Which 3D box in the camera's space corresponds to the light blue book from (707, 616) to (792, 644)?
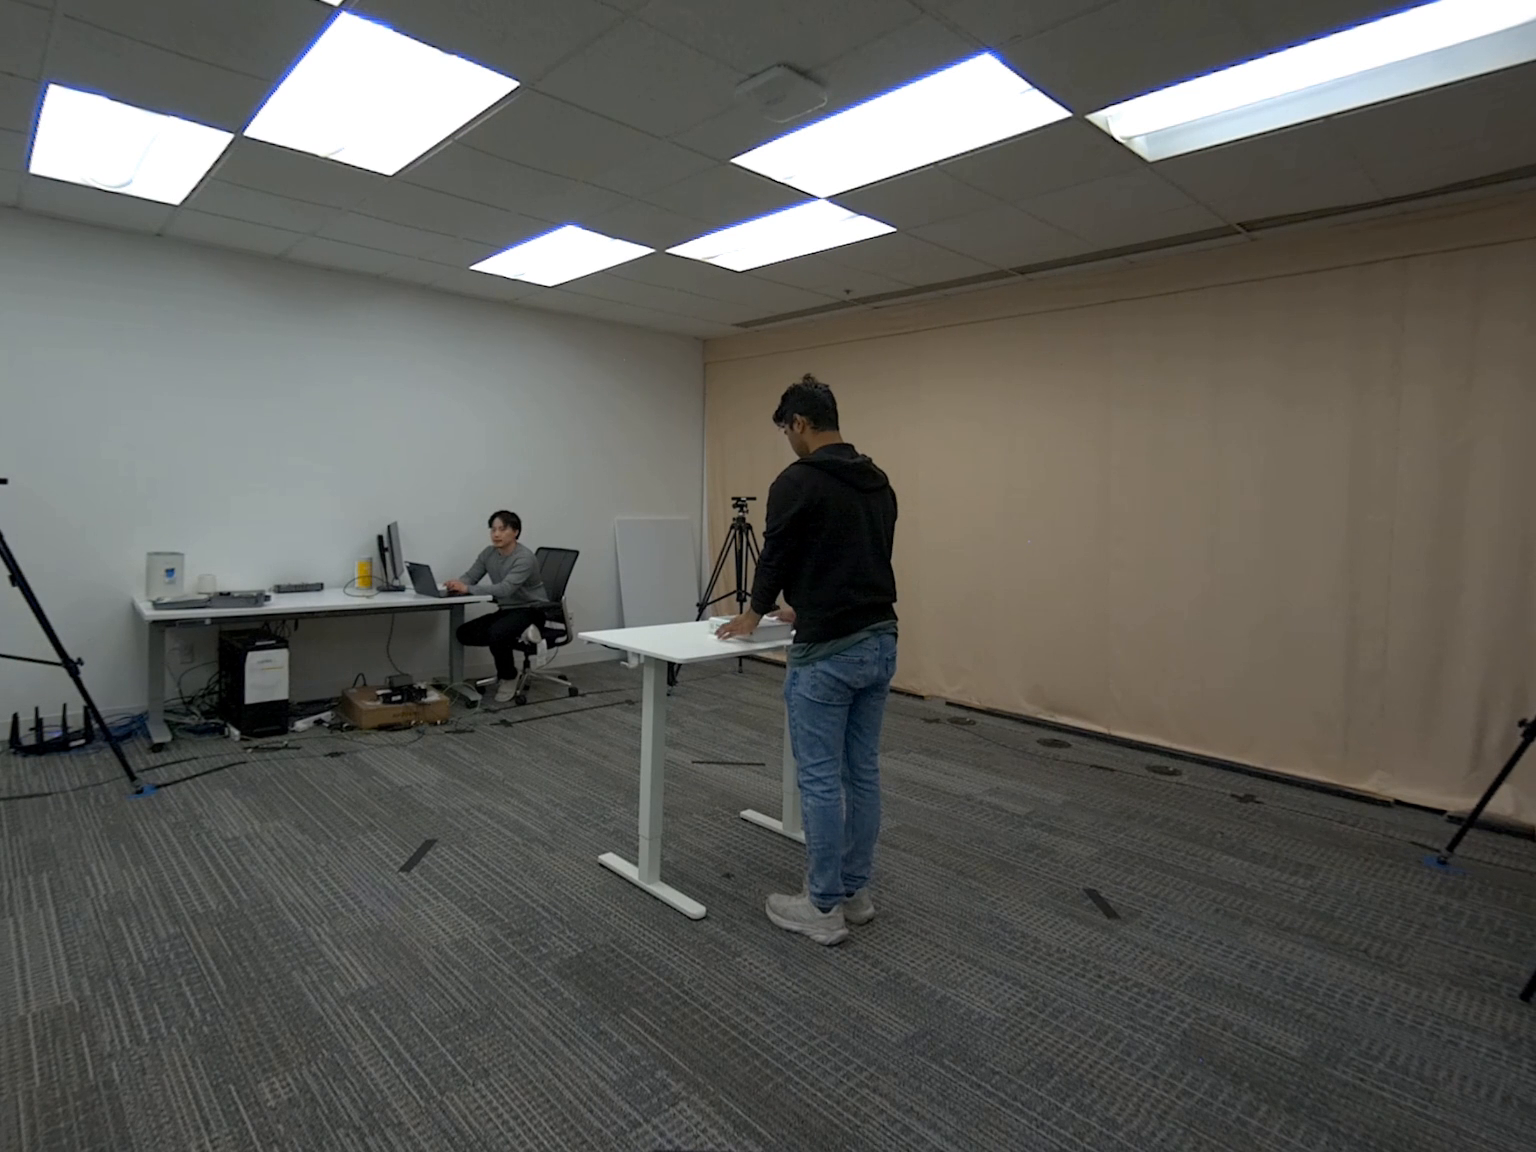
[{"bbox_3d":[-0.078,0.198,3.142,0.187,0.059,0.268,-3,7,-41],"label":"light blue book"}]
